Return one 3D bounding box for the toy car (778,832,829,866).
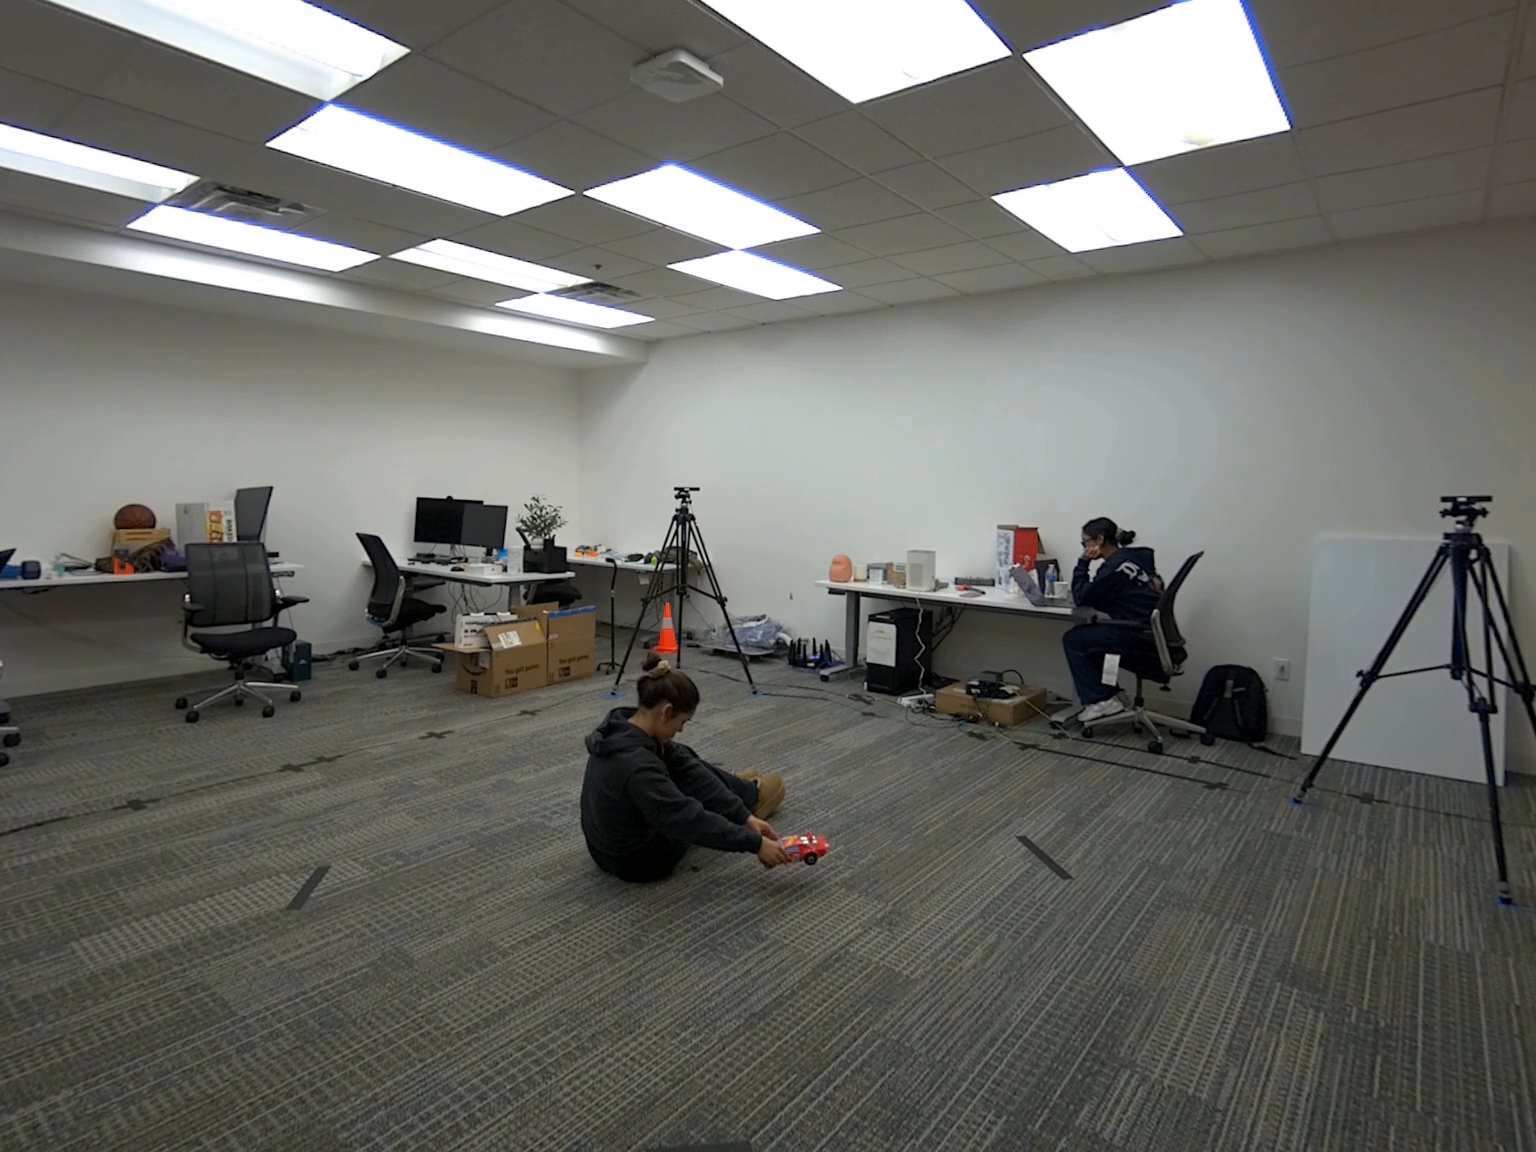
[{"bbox_3d":[0.094,0.967,2.991,0.254,0.082,0.132,-16,12,-3],"label":"toy car"}]
